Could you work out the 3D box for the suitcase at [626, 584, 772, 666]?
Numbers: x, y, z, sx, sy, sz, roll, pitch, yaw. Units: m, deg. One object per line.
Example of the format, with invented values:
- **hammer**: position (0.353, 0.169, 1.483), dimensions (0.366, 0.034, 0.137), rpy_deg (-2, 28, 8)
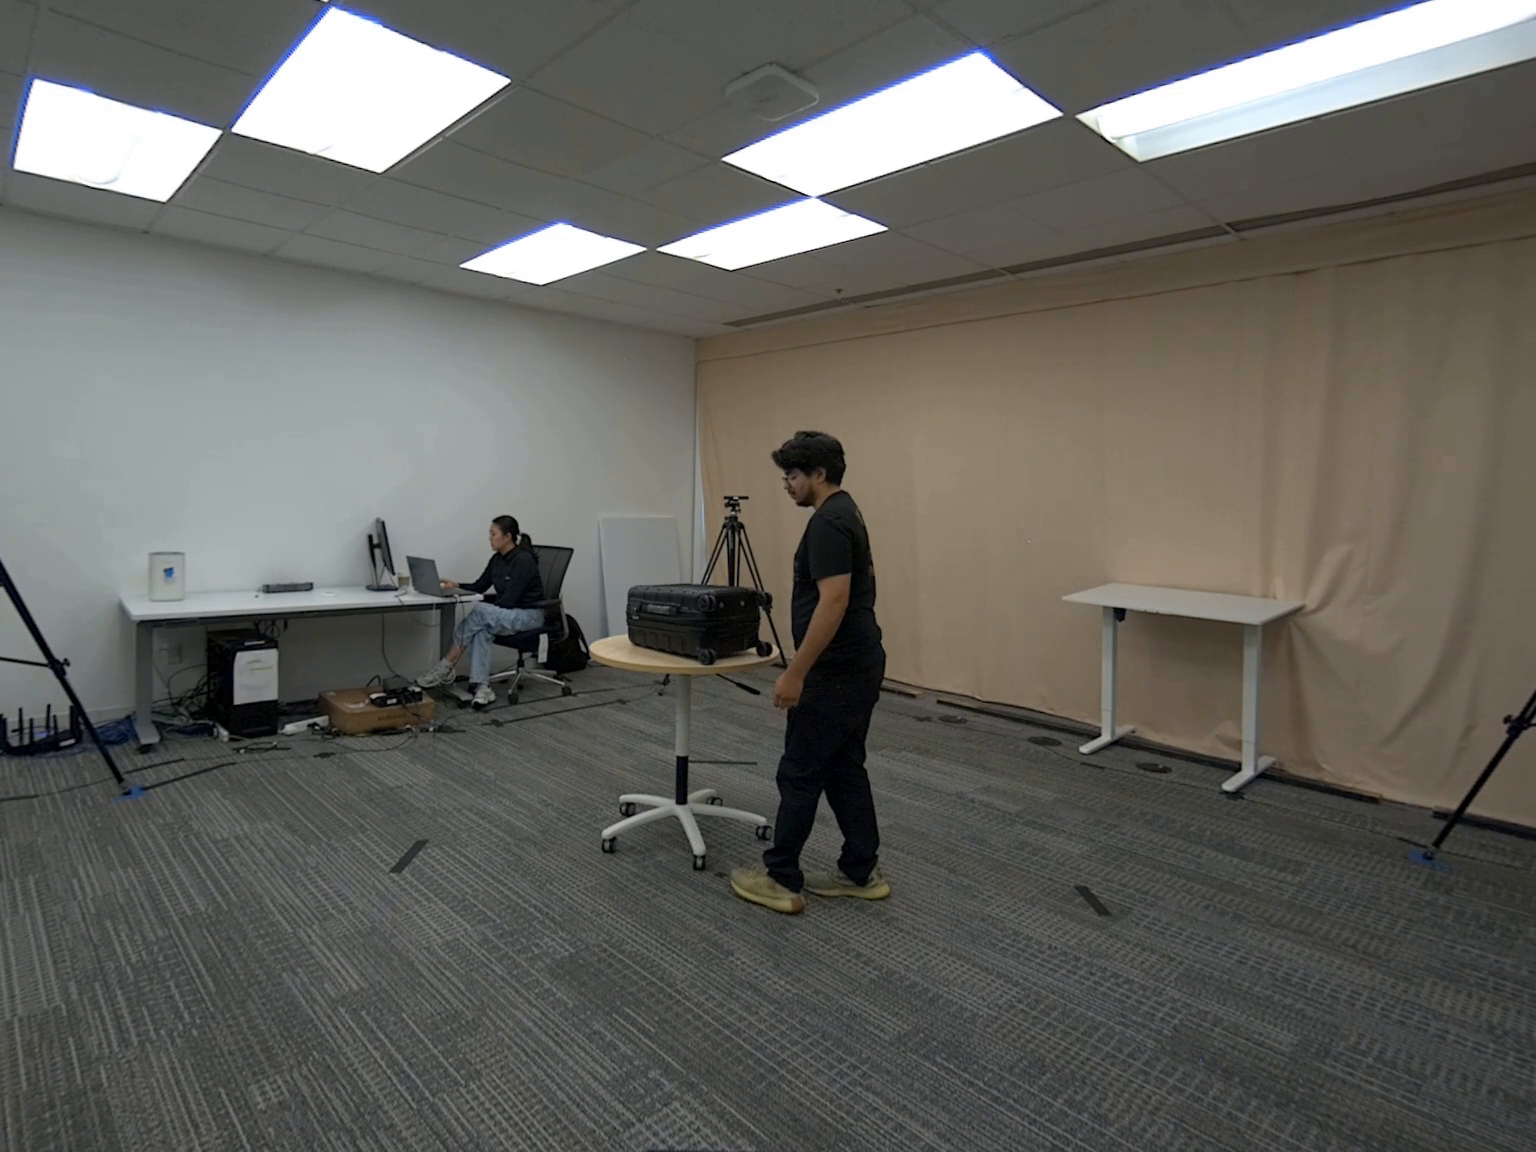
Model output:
- **suitcase**: position (-0.297, 0.171, 3.358), dimensions (0.367, 0.248, 0.563), rpy_deg (-3, 6, -43)
